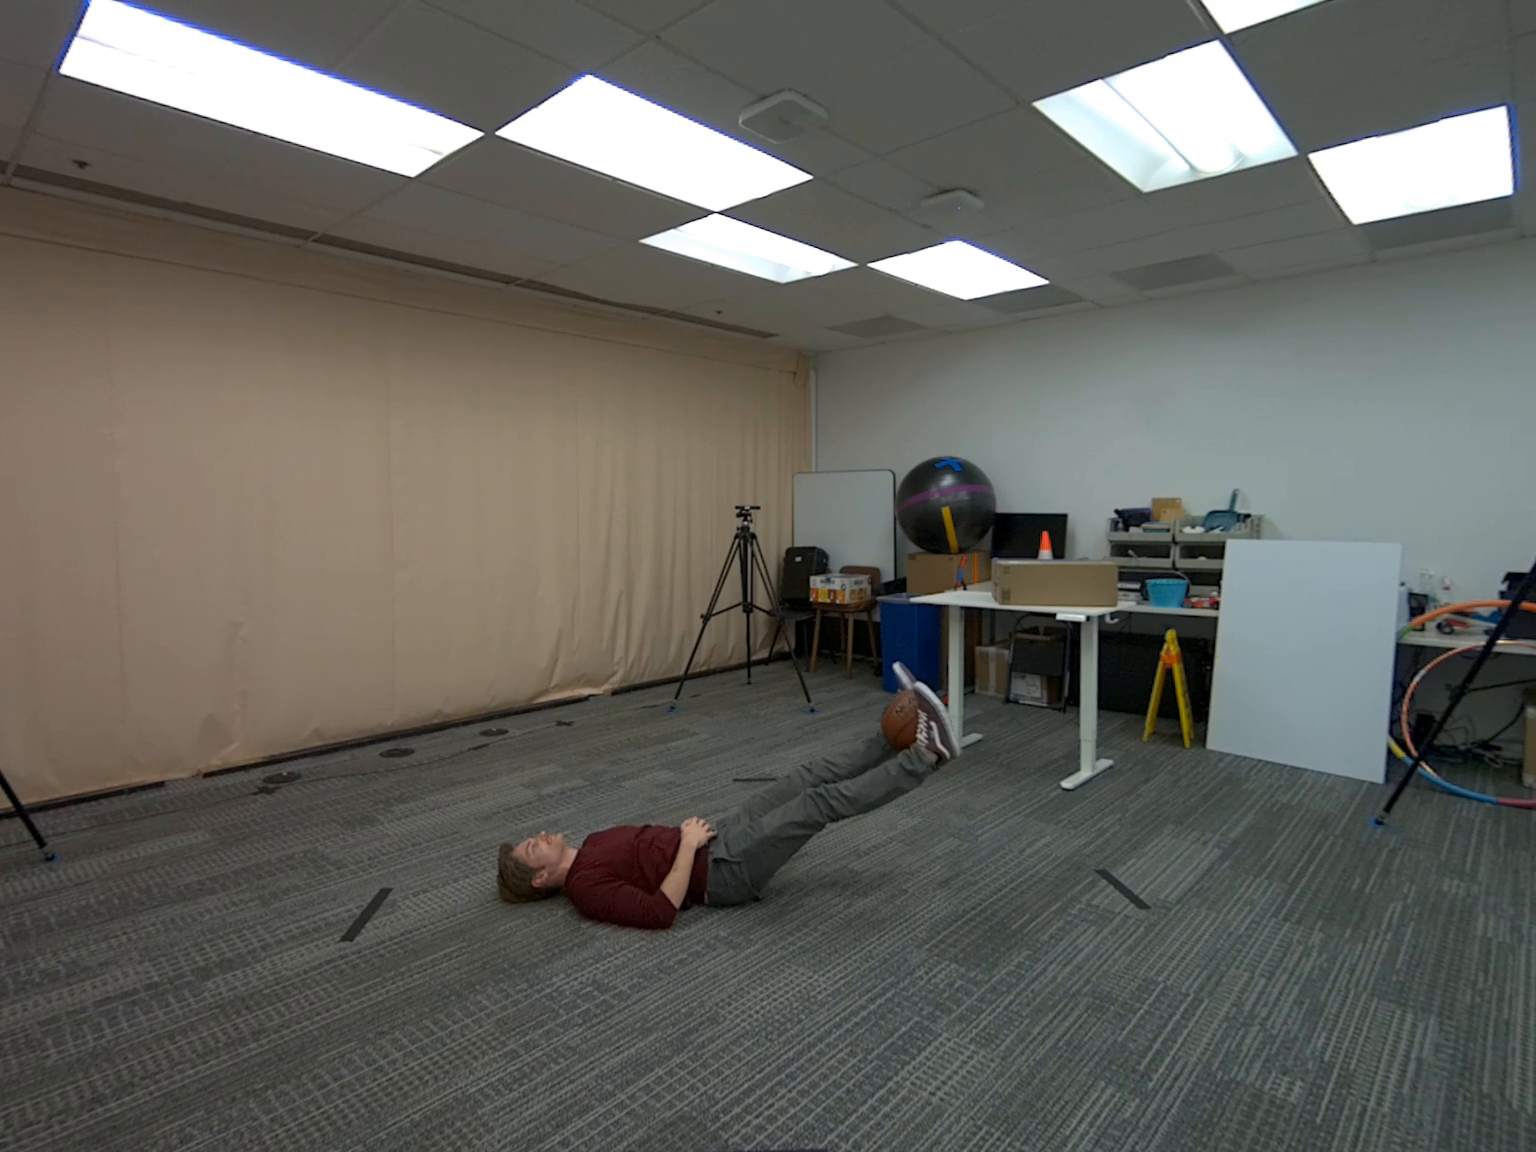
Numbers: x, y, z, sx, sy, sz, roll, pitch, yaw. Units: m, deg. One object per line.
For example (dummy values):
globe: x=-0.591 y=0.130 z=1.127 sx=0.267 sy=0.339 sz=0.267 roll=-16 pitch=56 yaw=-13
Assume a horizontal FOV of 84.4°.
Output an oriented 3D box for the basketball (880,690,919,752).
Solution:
basketball: x=0.517 y=0.518 z=2.977 sx=0.235 sy=0.235 sz=0.237 roll=3 pitch=5 yaw=-2
